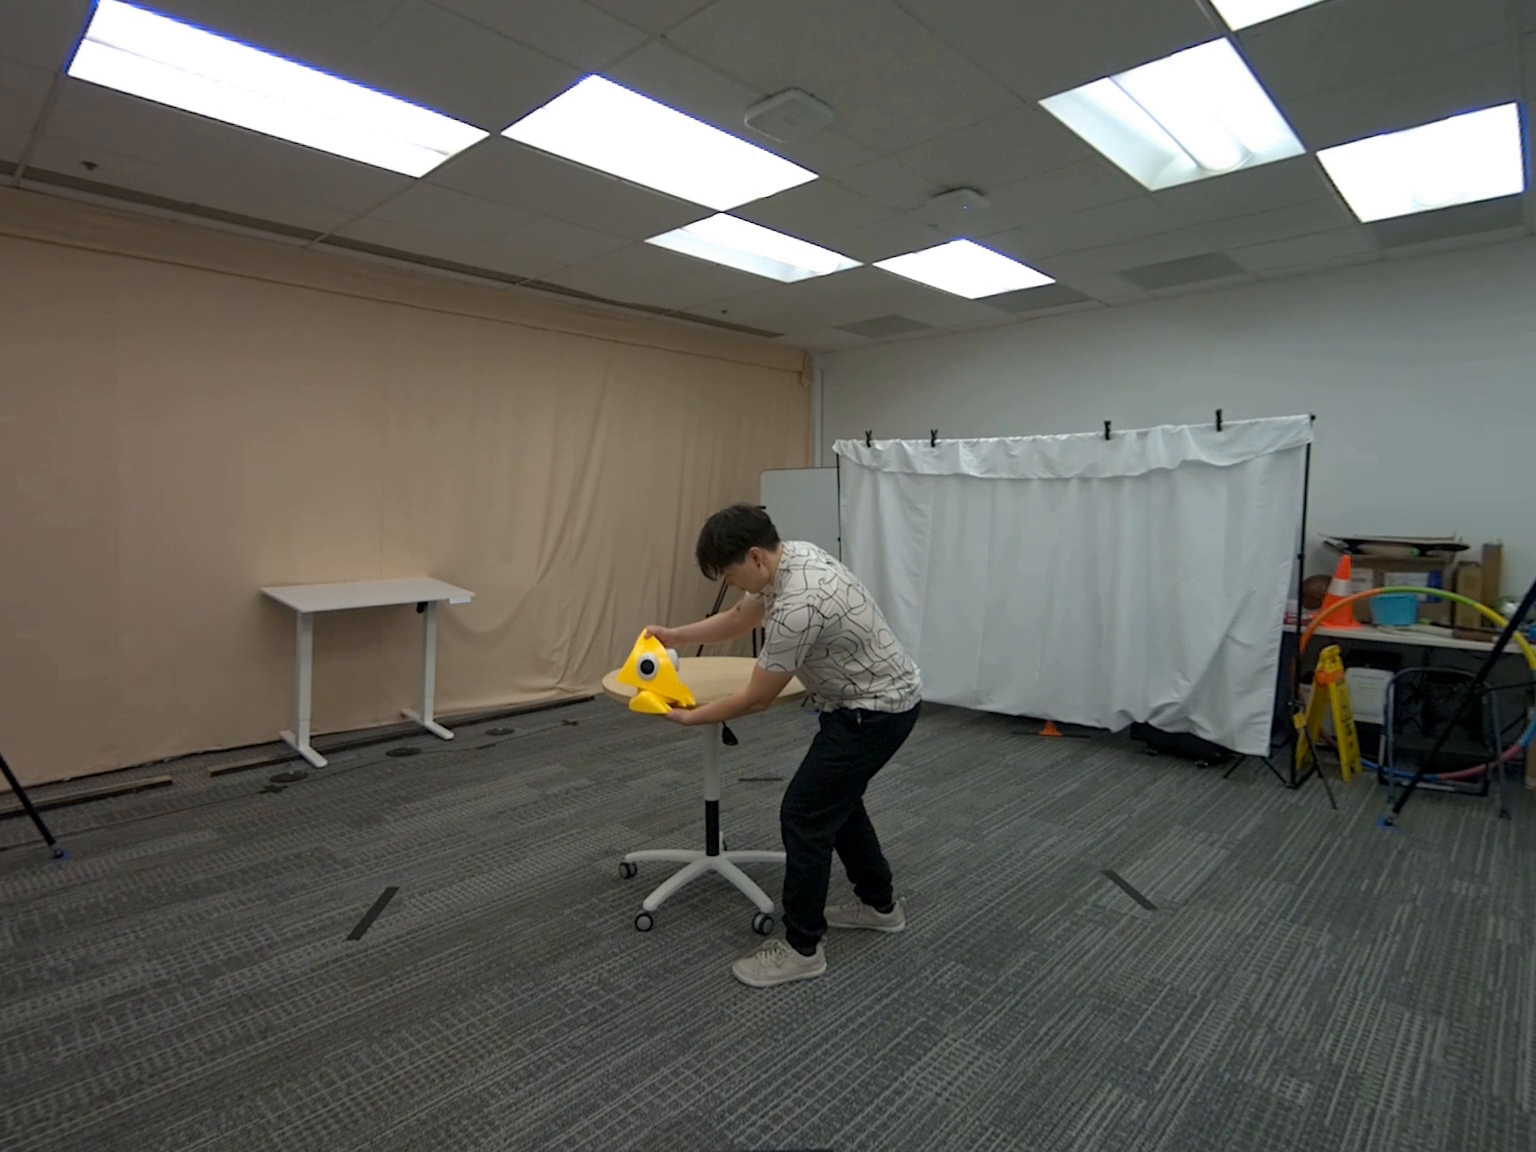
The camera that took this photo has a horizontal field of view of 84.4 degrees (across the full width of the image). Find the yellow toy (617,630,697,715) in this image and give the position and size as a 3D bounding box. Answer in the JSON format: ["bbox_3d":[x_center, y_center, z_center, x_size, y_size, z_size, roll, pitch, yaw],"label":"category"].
[{"bbox_3d":[-0.330,0.288,2.592,0.199,0.230,0.199,3,5,38],"label":"yellow toy"}]
